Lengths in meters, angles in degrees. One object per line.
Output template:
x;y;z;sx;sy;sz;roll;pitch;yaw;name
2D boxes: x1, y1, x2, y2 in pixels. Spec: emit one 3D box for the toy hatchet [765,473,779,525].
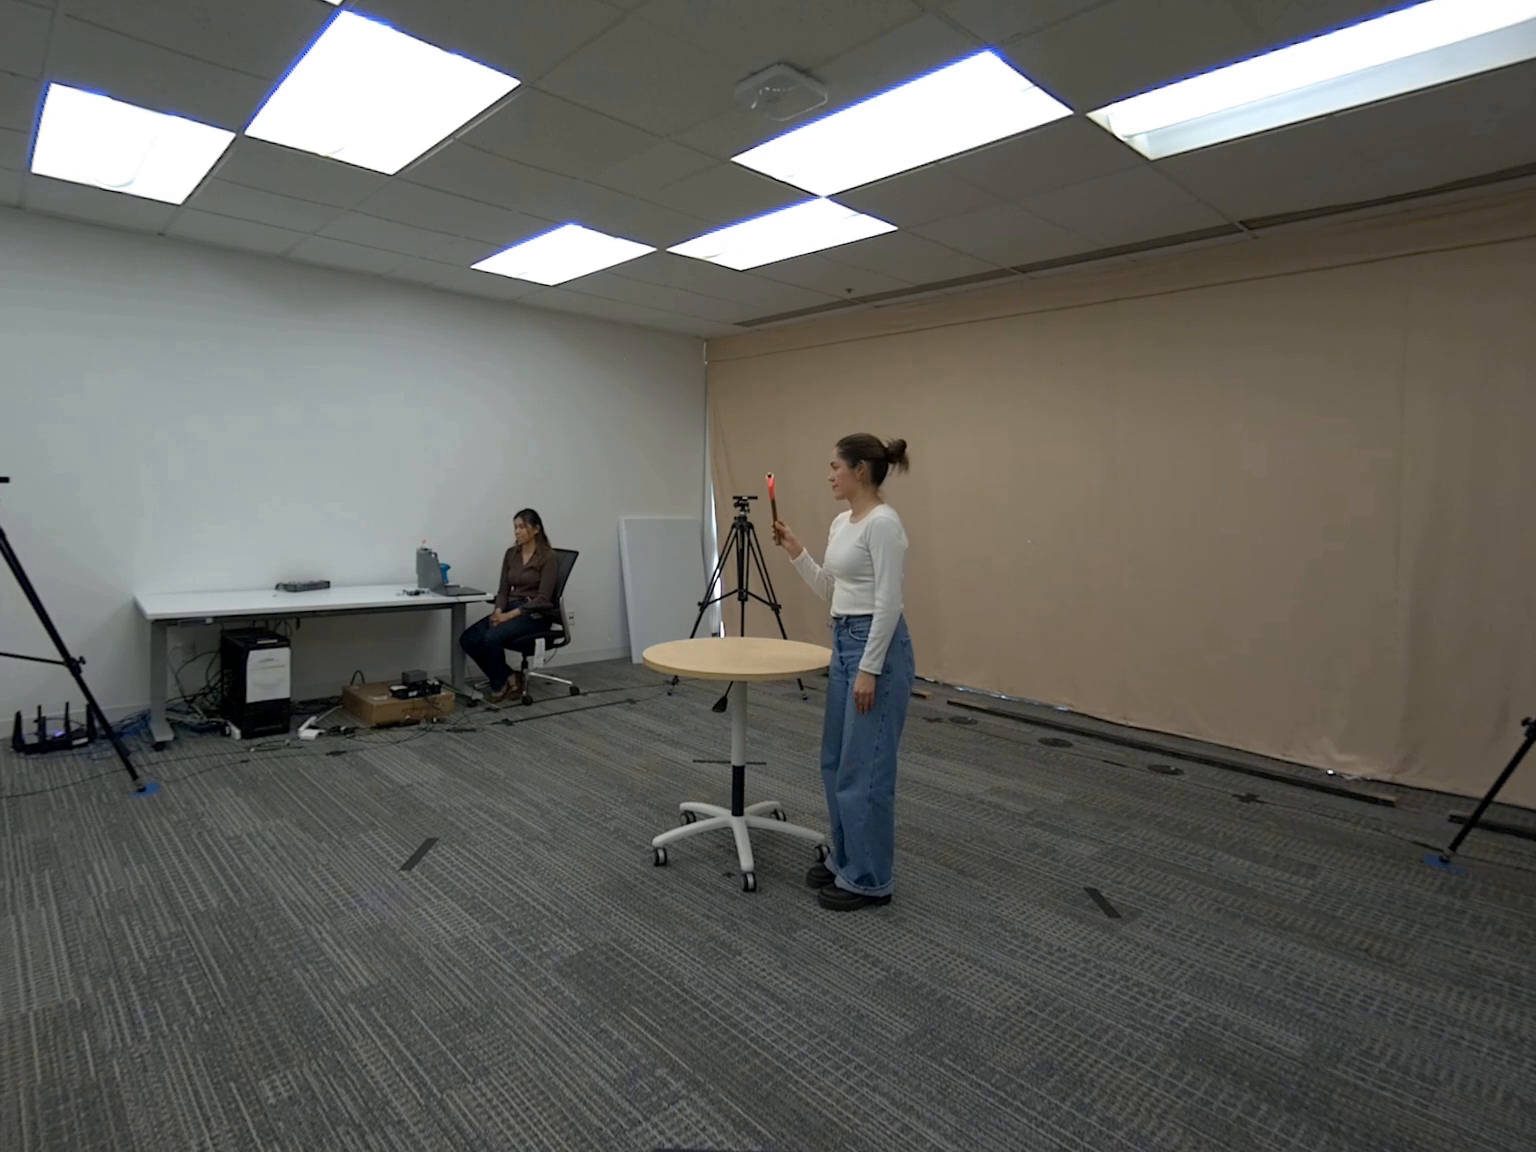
0.023;-0.242;3.047;0.030;0.269;0.131;-9;6;7;toy hatchet
